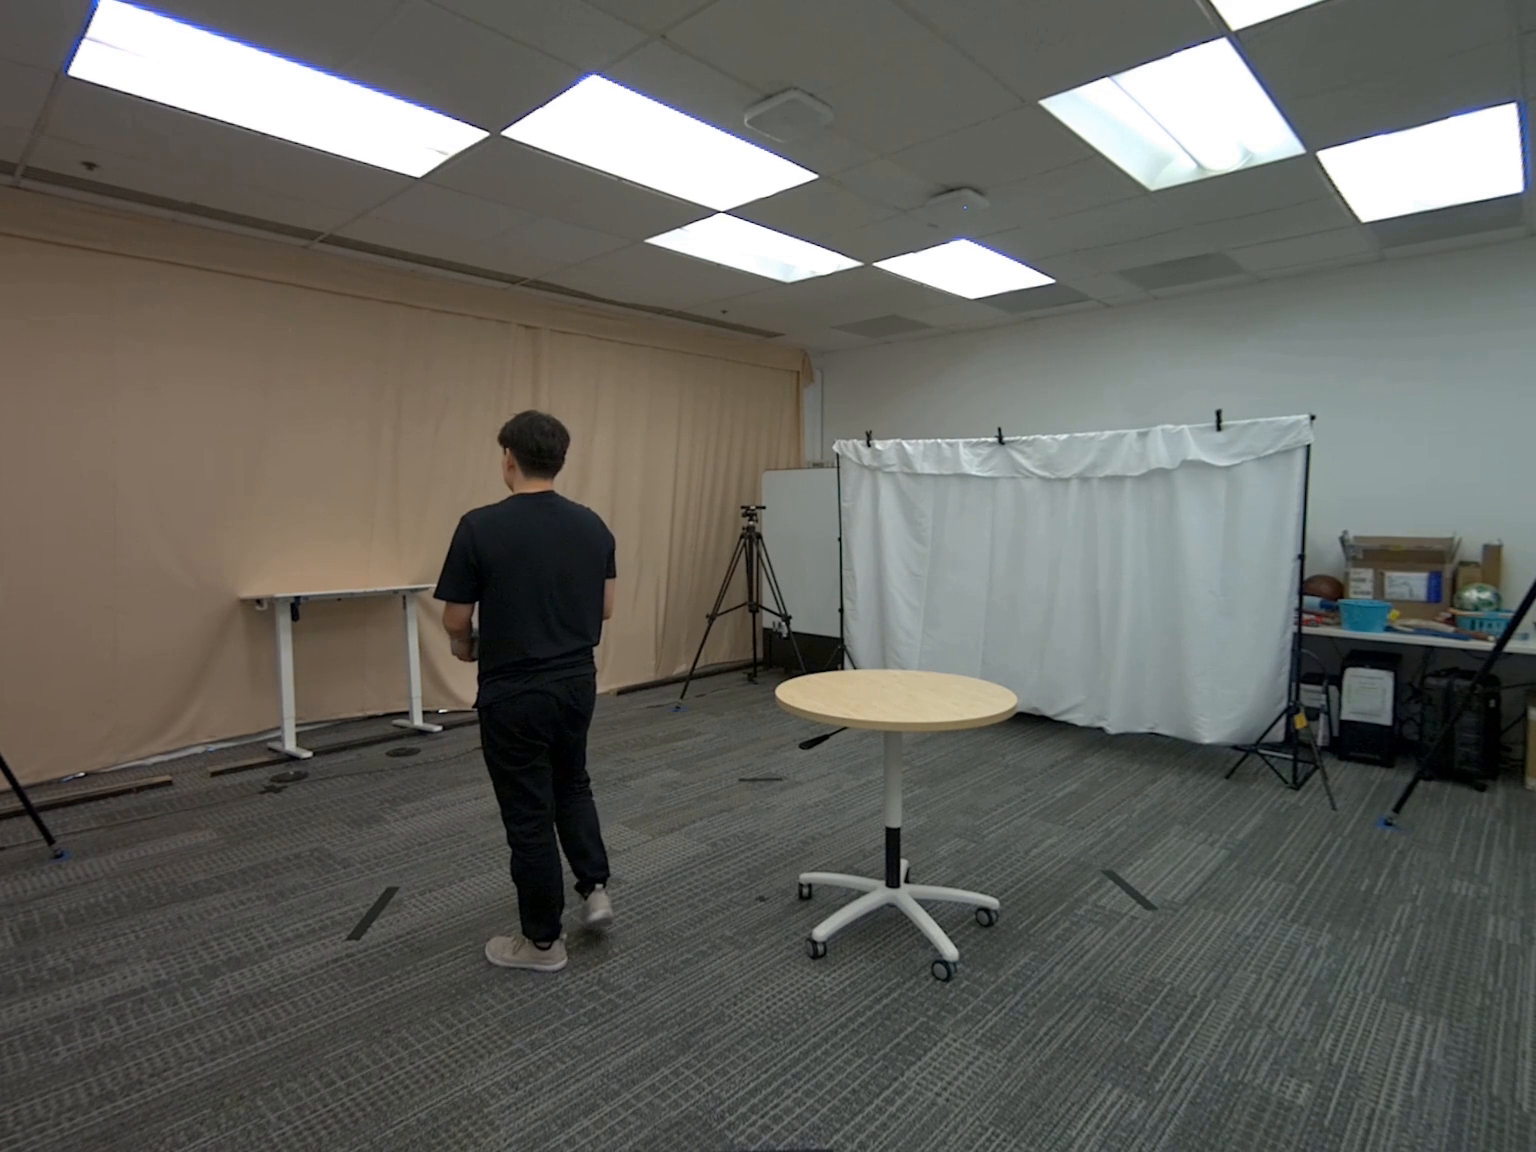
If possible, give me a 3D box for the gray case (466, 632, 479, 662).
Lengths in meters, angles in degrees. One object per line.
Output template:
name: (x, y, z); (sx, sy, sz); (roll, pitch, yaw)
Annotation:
gray case: (-0.897, 0.211, 2.799); (0.249, 0.104, 0.269); (1, -1, -42)
